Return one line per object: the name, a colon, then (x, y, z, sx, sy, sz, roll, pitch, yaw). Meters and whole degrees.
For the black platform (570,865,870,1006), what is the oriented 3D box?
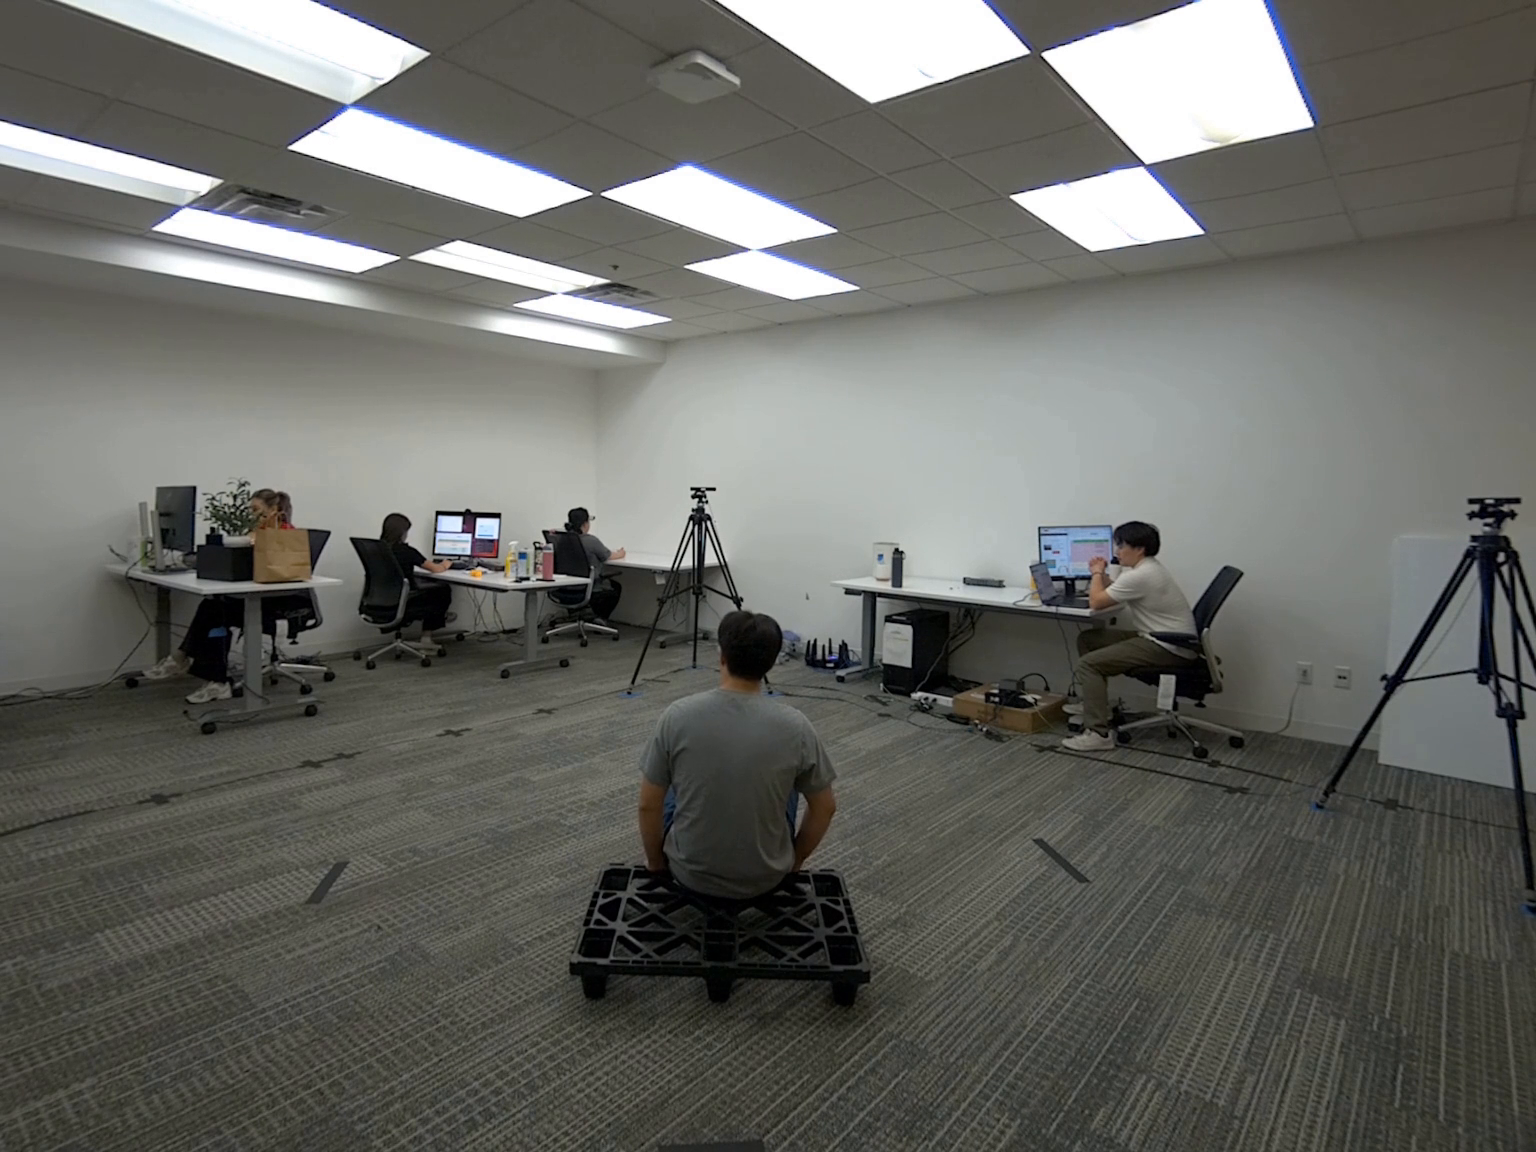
black platform: (-0.153, 1.055, 2.532, 0.806, 0.143, 0.607, 1, 5, 0)
